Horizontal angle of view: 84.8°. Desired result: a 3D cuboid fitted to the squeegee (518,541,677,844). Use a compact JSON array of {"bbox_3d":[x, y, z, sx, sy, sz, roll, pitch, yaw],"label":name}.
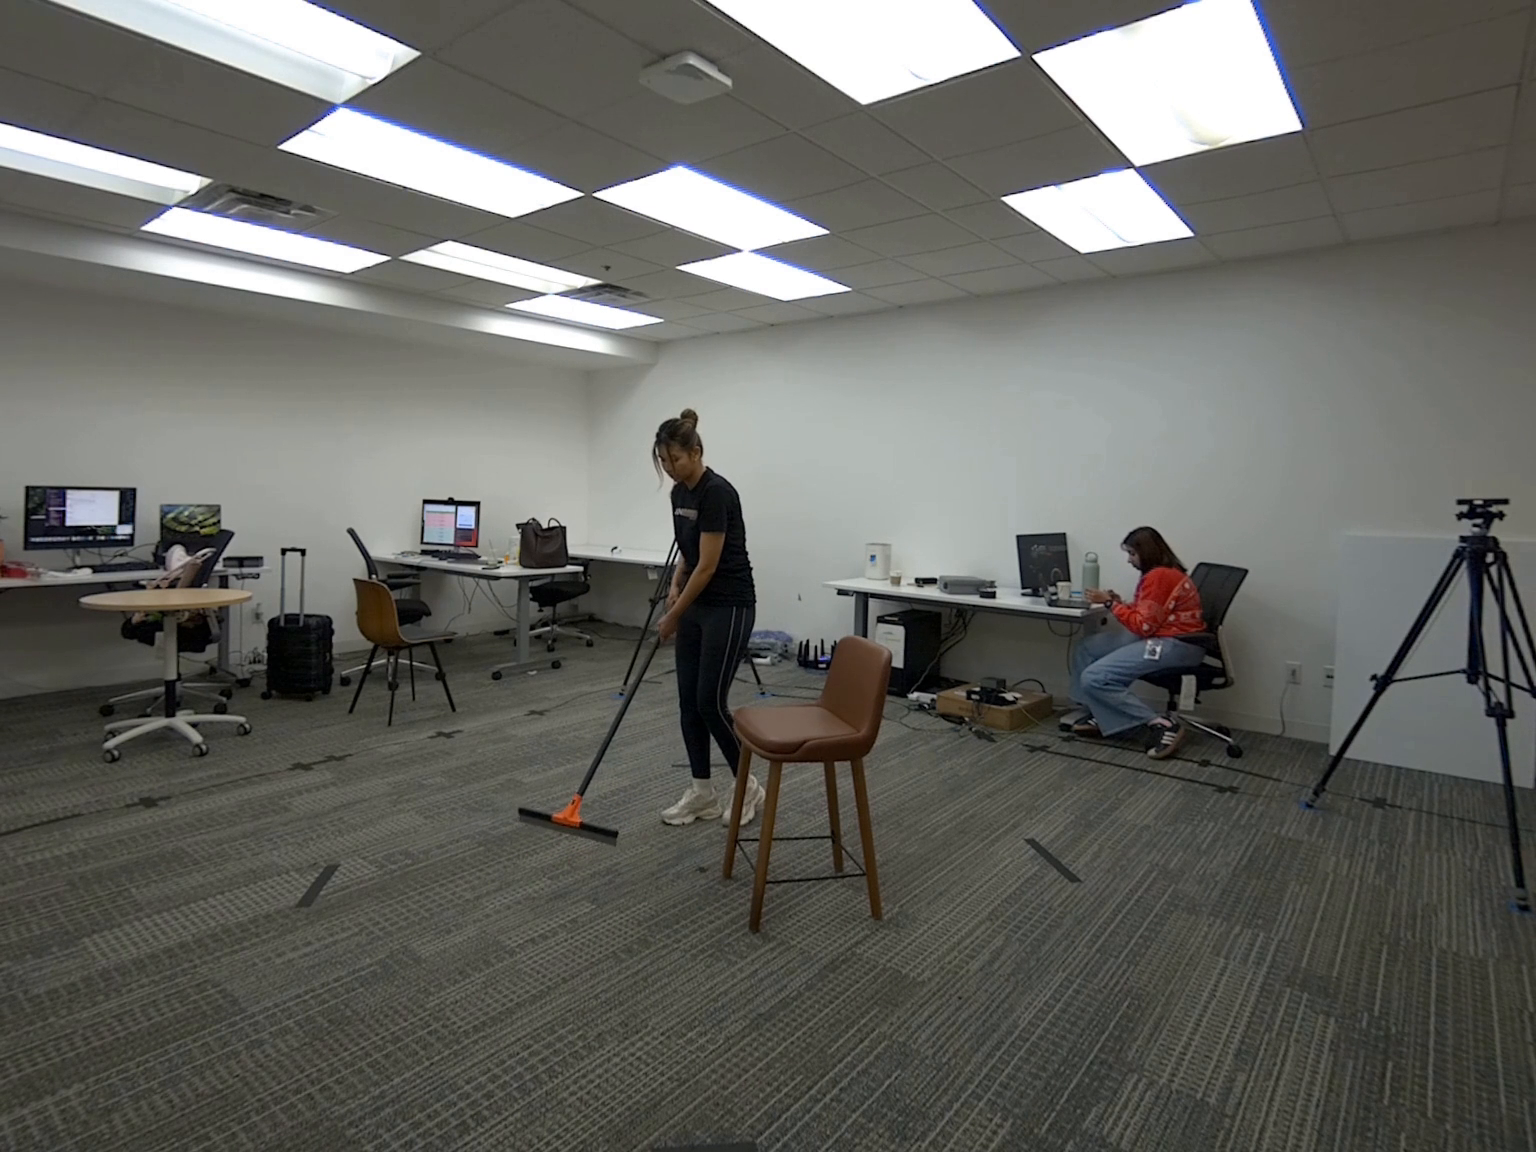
[{"bbox_3d":[-0.518,0.334,3.460,0.448,0.051,1.559,0,47,24],"label":"squeegee"}]
